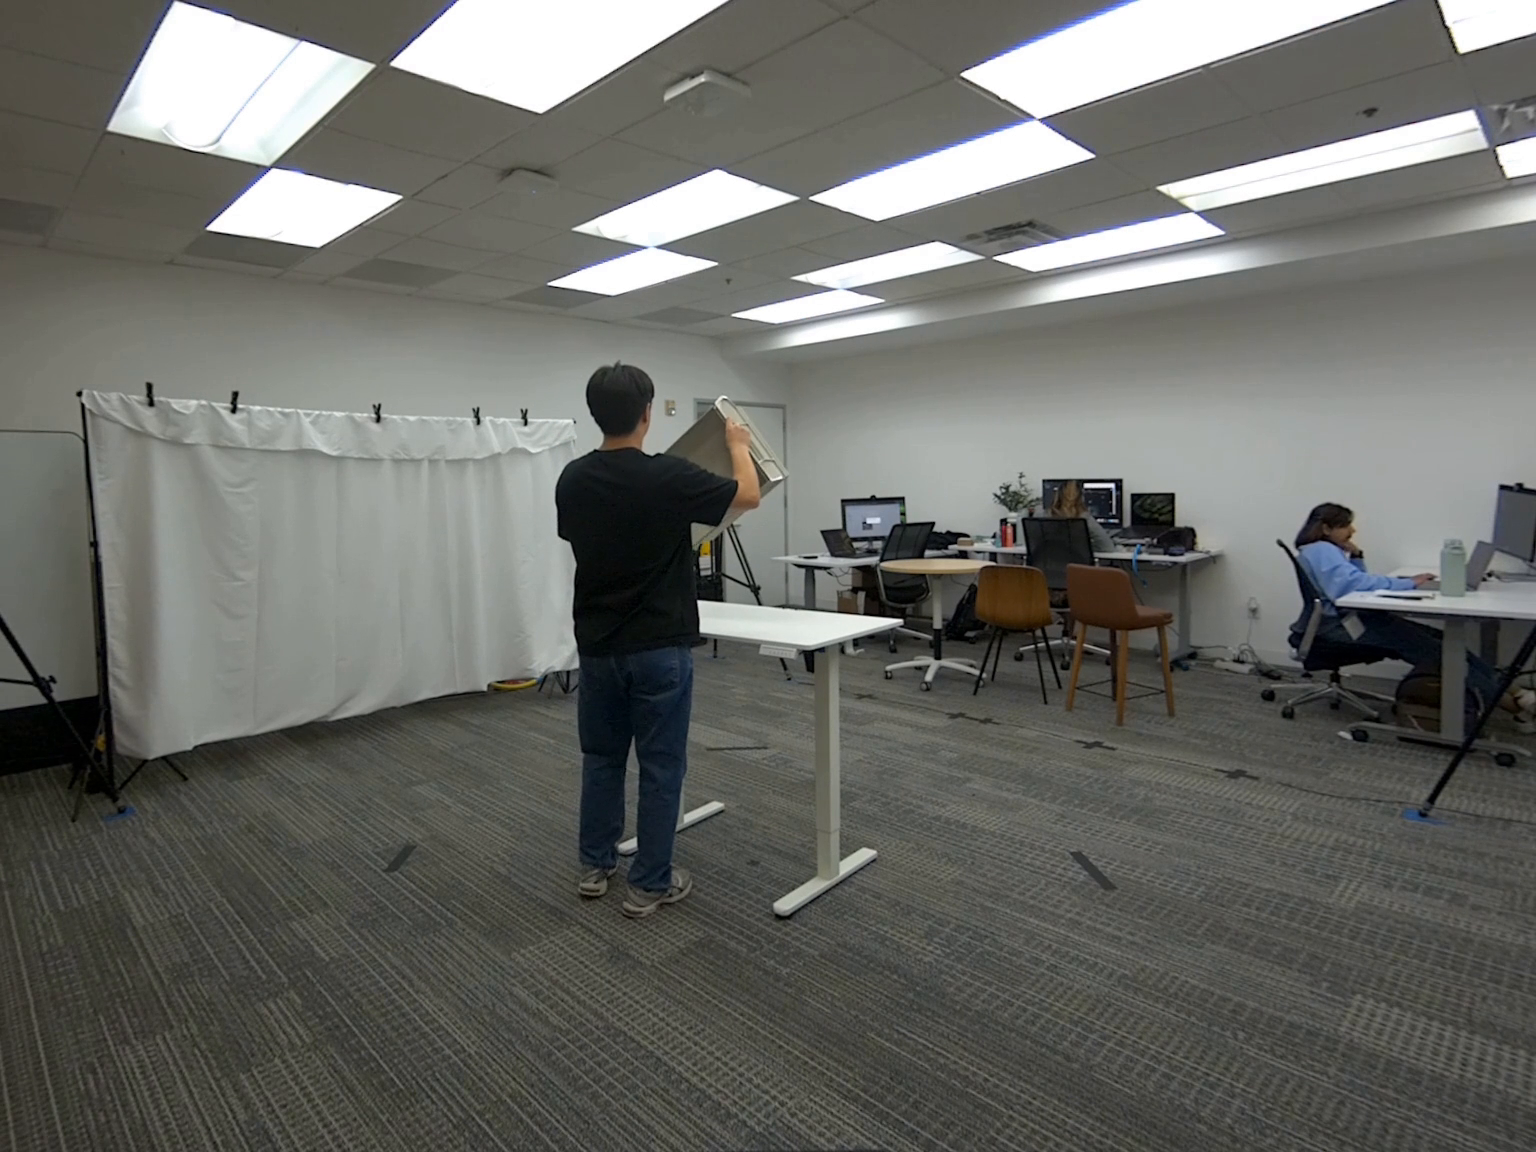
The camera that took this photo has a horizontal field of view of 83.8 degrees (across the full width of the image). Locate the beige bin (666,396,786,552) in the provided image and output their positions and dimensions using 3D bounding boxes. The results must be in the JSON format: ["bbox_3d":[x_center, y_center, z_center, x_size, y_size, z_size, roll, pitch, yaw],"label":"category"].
[{"bbox_3d":[-0.208,-0.374,3.100,0.424,0.382,0.186,-39,-10,26],"label":"beige bin"}]
